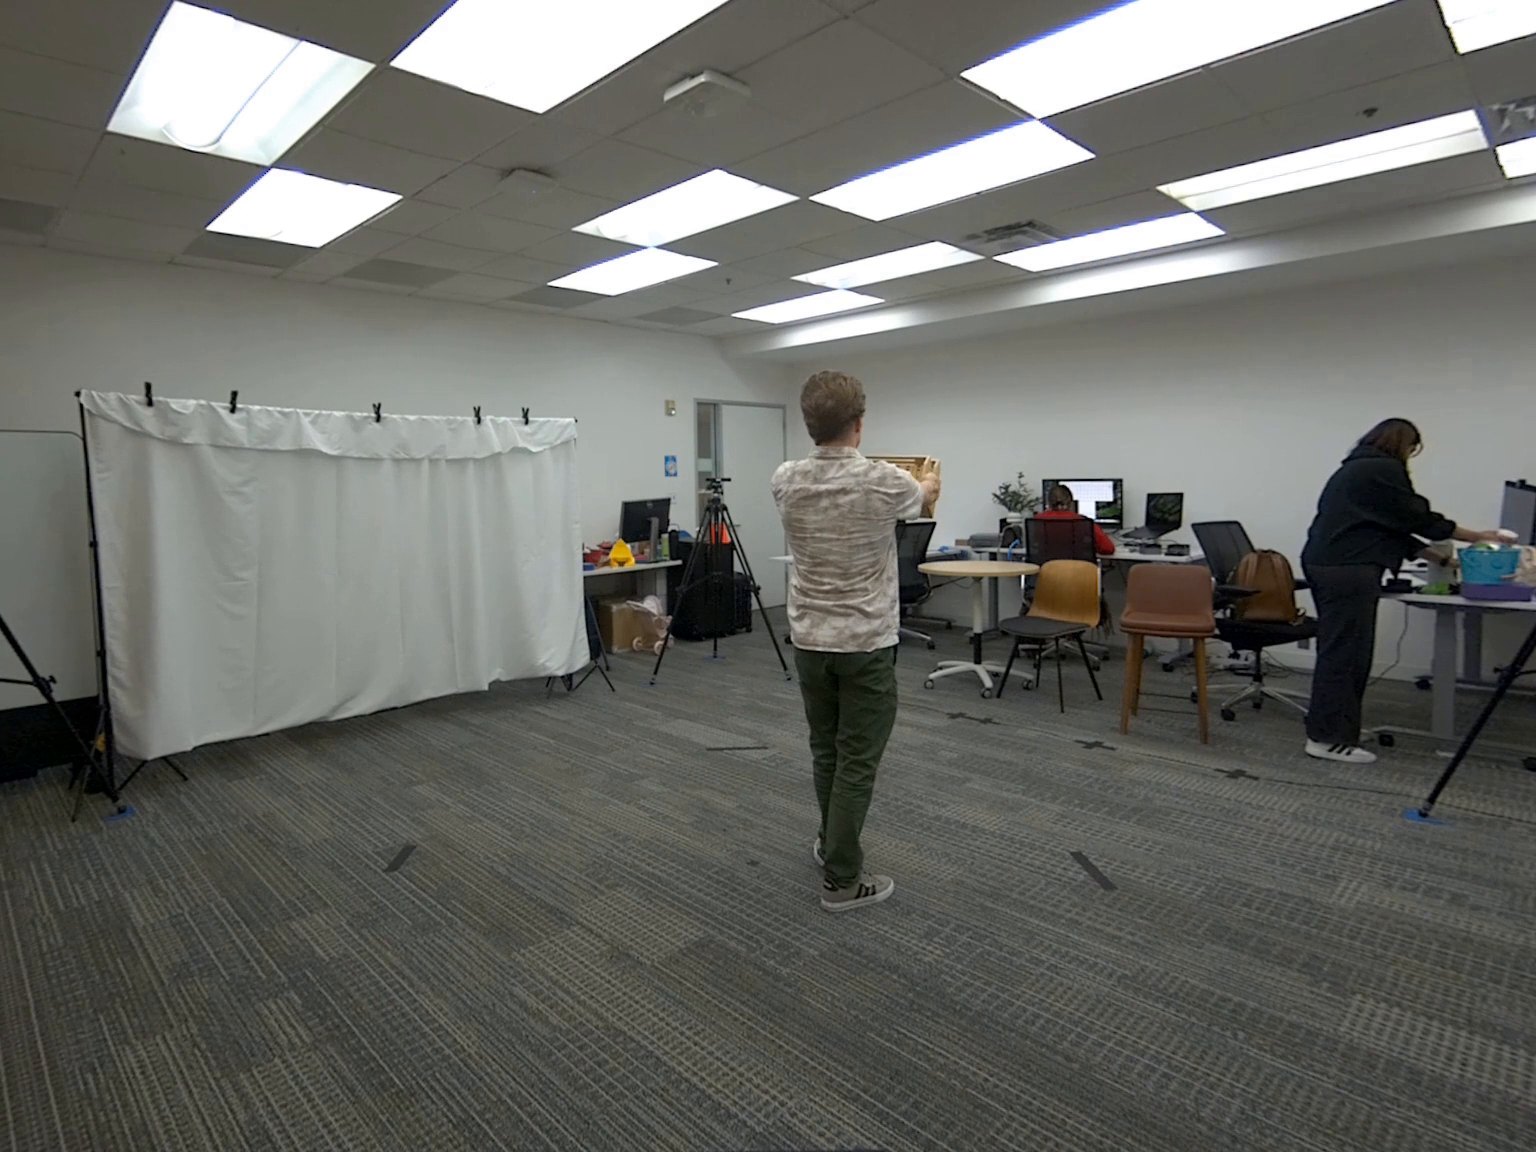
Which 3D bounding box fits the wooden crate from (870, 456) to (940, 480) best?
[{"bbox_3d":[0.522,-0.389,3.394,0.332,0.306,0.263,4,-25,22],"label":"wooden crate"}]
